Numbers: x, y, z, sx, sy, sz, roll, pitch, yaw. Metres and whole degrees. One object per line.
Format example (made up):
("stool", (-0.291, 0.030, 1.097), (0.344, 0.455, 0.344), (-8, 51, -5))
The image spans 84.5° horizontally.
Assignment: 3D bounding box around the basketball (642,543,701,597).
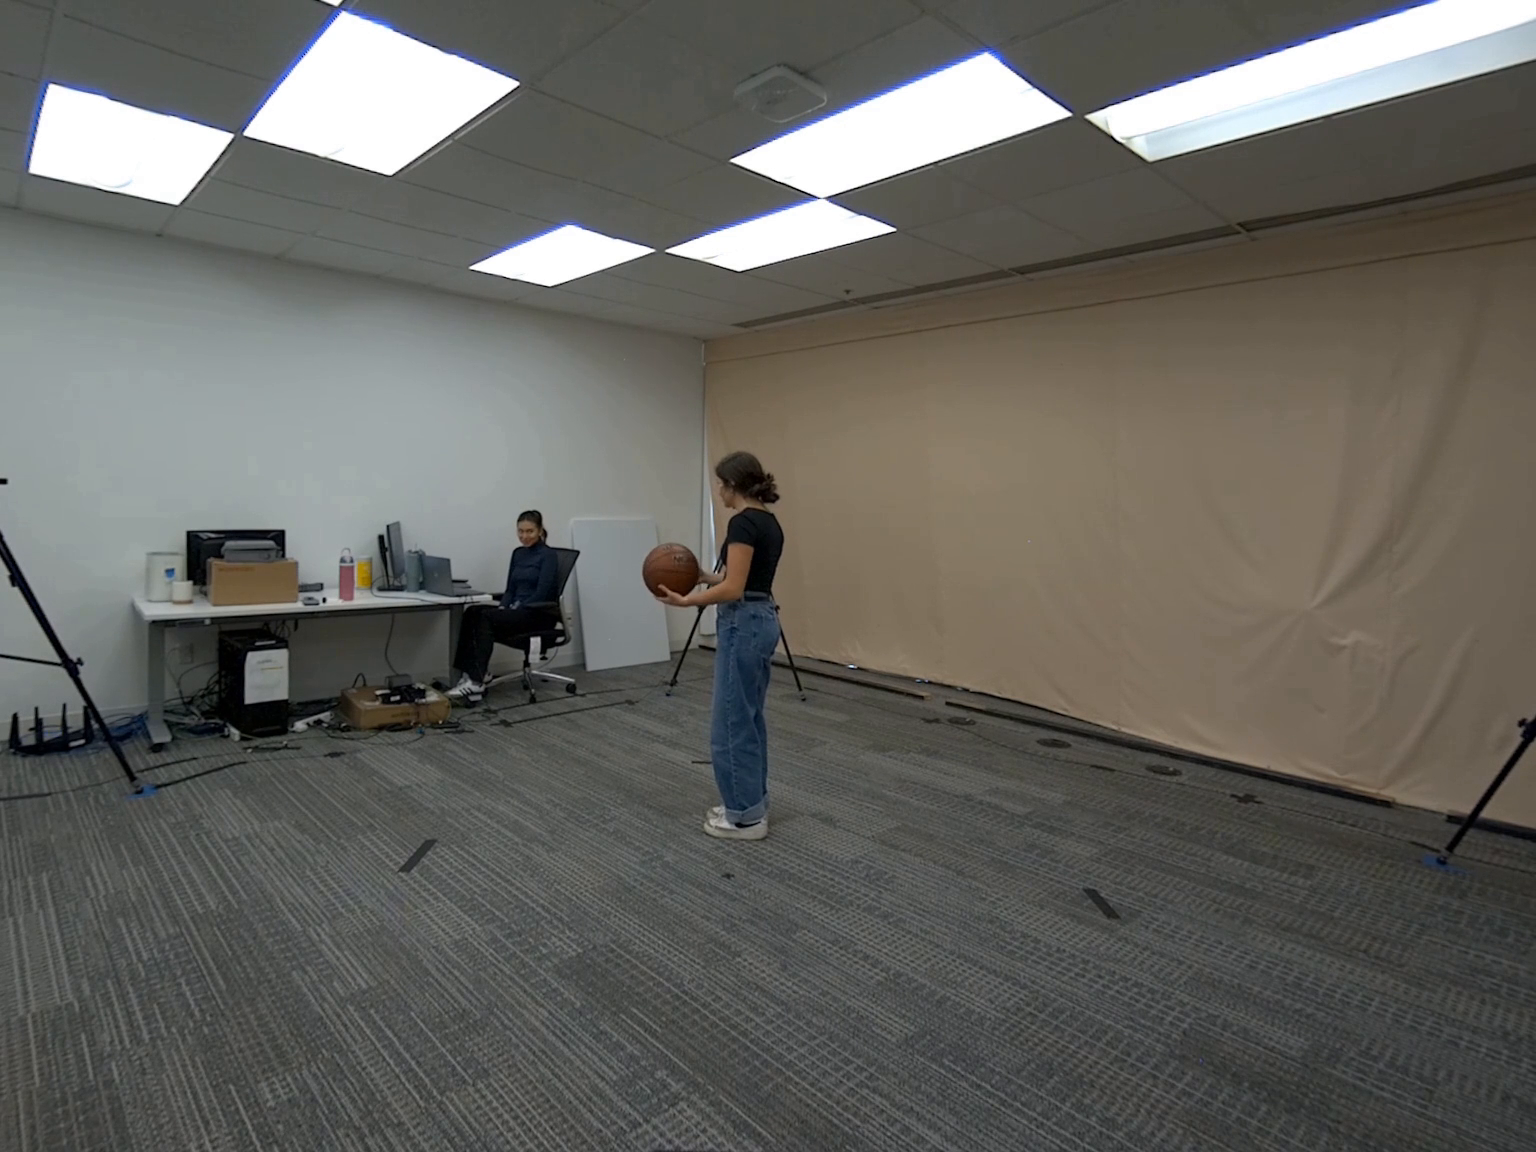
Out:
("basketball", (-0.403, -0.018, 3.532), (0.236, 0.235, 0.237), (1, 4, -1))
